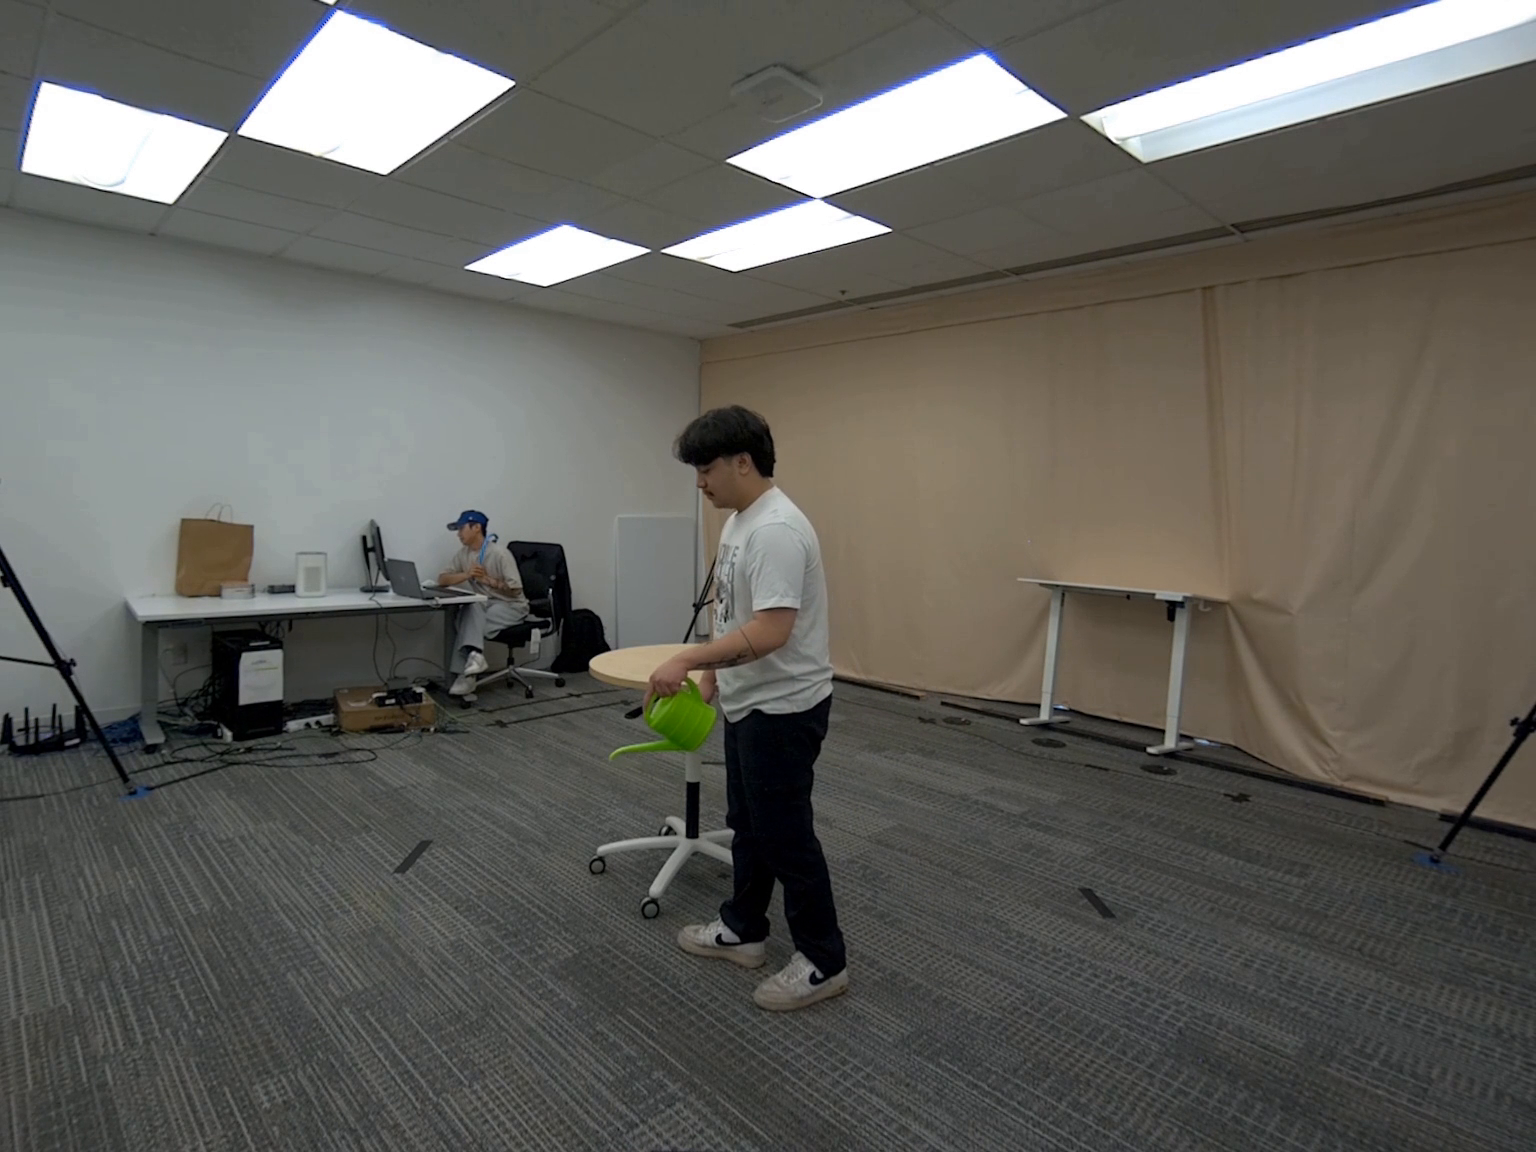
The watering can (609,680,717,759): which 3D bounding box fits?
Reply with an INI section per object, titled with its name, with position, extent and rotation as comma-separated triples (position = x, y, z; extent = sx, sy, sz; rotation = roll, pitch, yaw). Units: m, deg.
[watering can]
position = -0.265, 0.396, 2.174
extent = 0.174, 0.278, 0.099
rotation = 35, 5, -13
